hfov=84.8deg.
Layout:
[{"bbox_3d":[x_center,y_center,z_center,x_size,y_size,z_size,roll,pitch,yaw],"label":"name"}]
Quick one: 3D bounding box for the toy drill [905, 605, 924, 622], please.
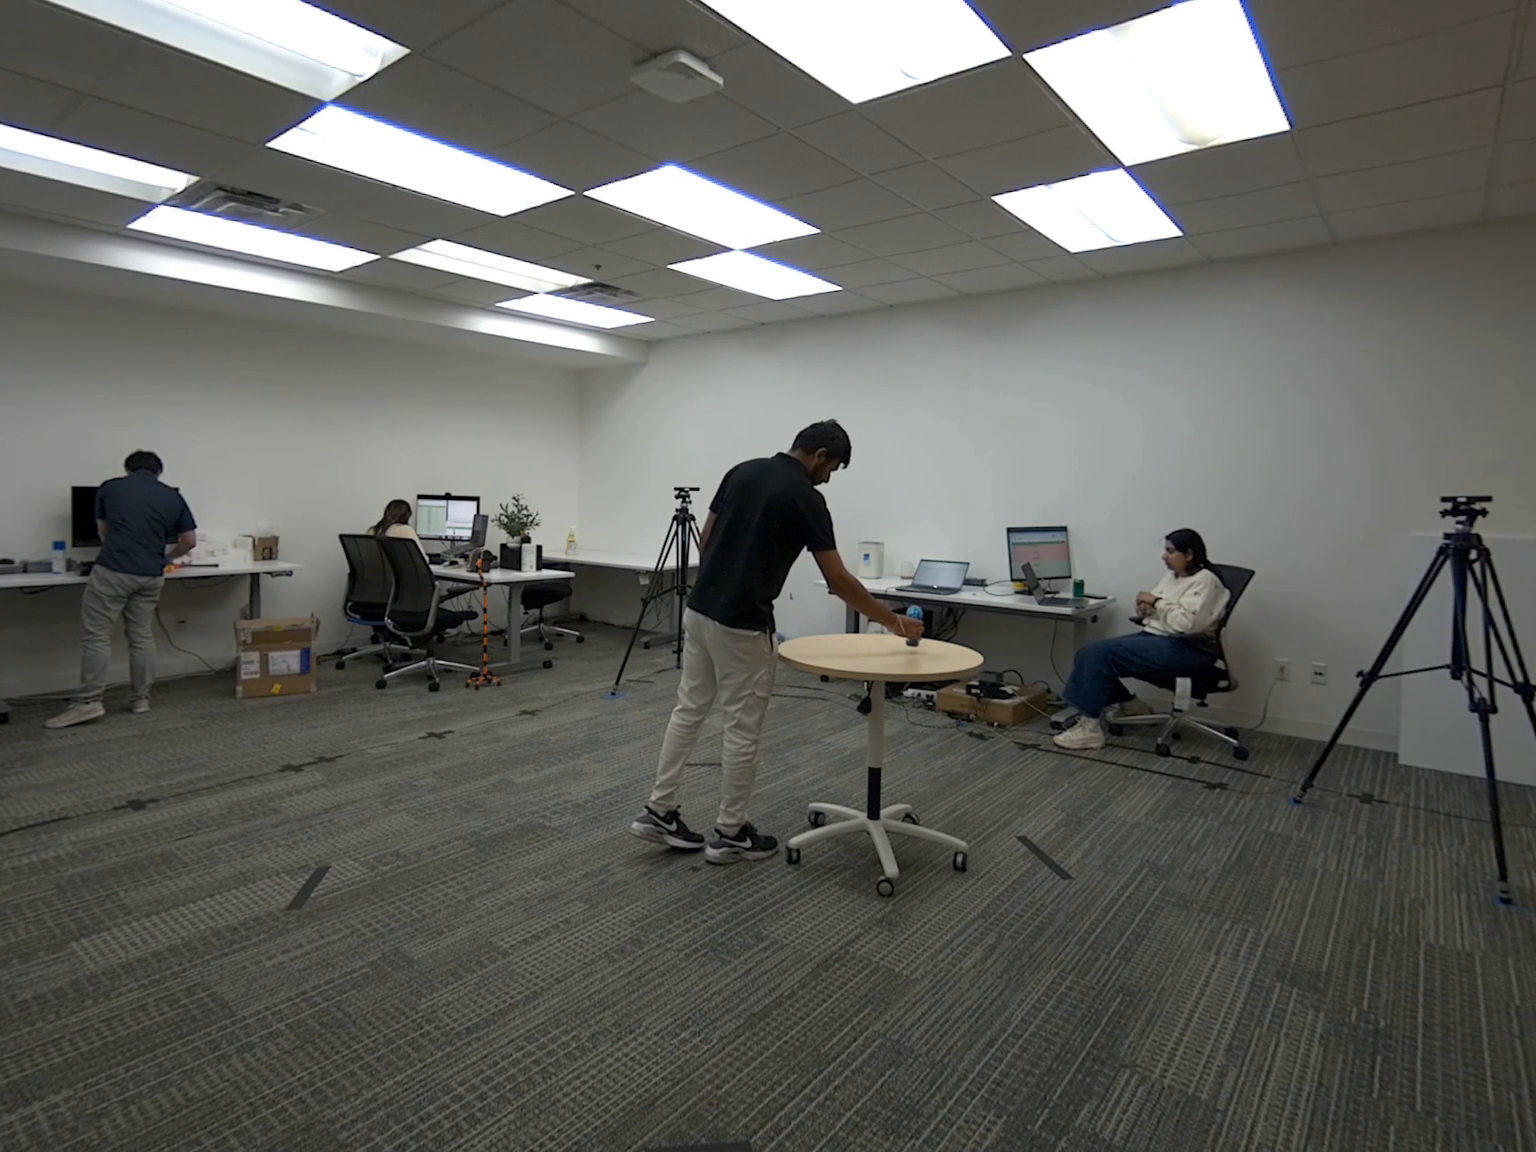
[{"bbox_3d":[0.552,0.179,3.257,0.062,0.145,0.169,4,10,9],"label":"toy drill"}]
